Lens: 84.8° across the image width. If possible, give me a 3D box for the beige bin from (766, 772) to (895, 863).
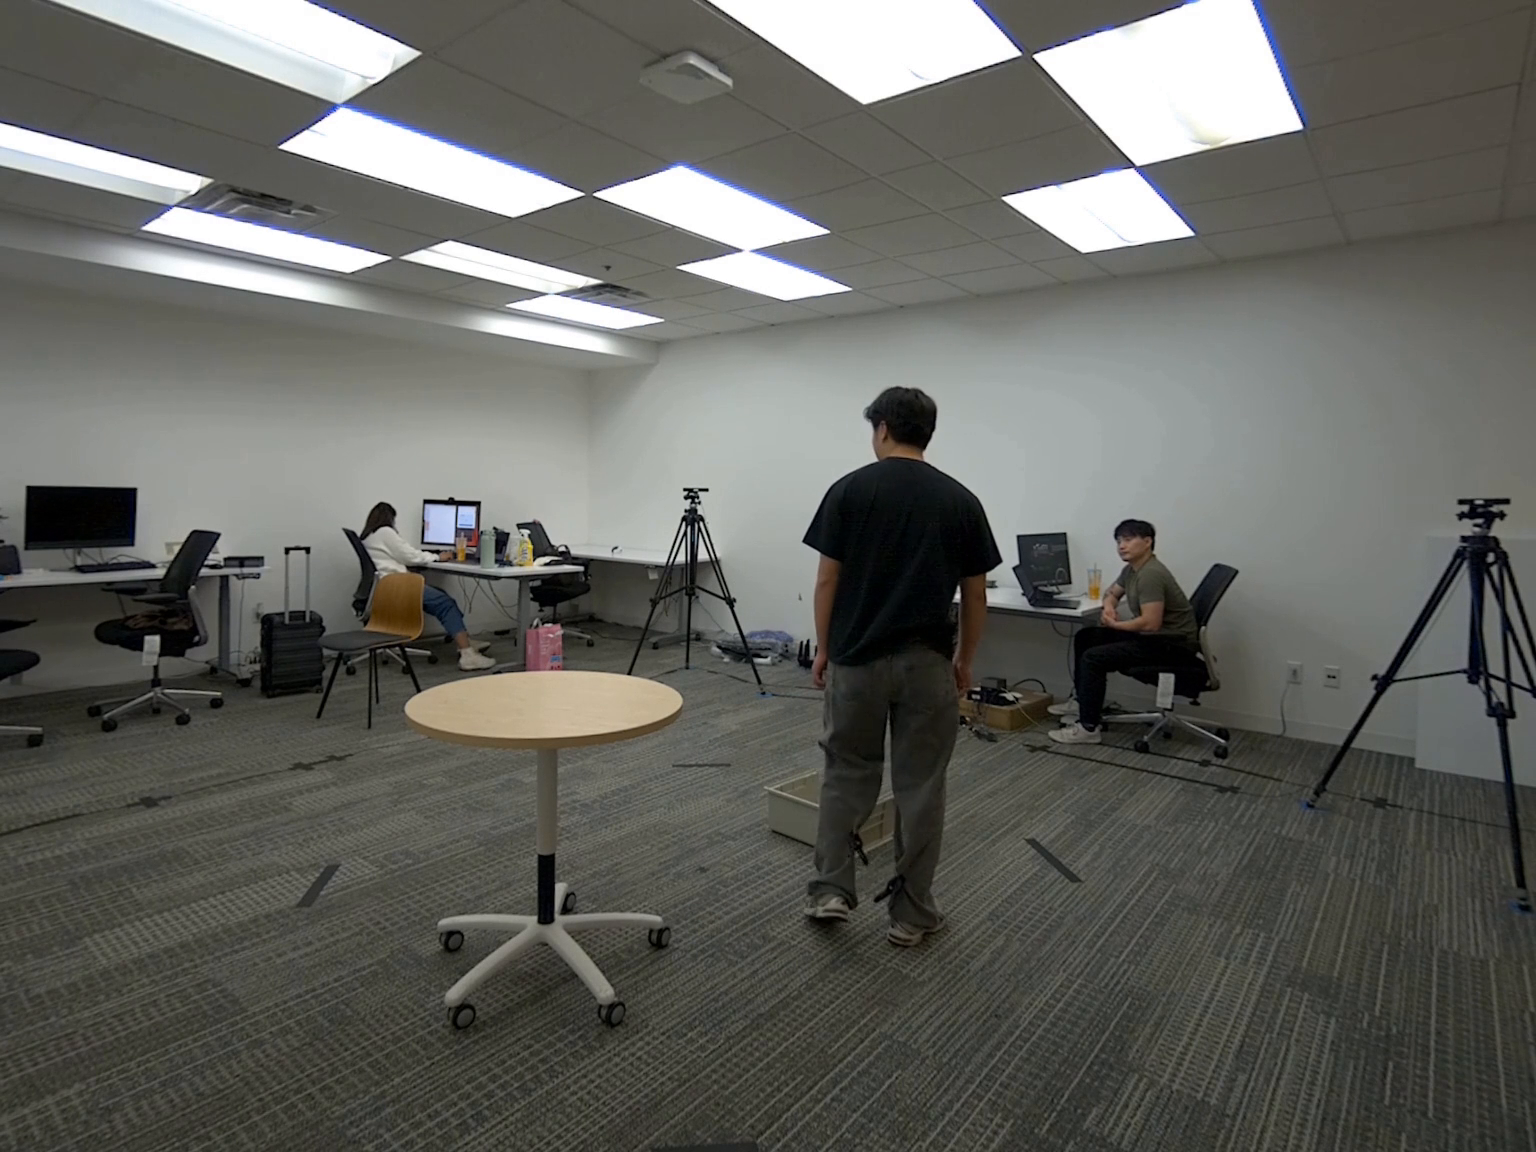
[{"bbox_3d":[0.252,0.956,3.464,0.437,0.188,0.366,7,9,41],"label":"beige bin"}]
